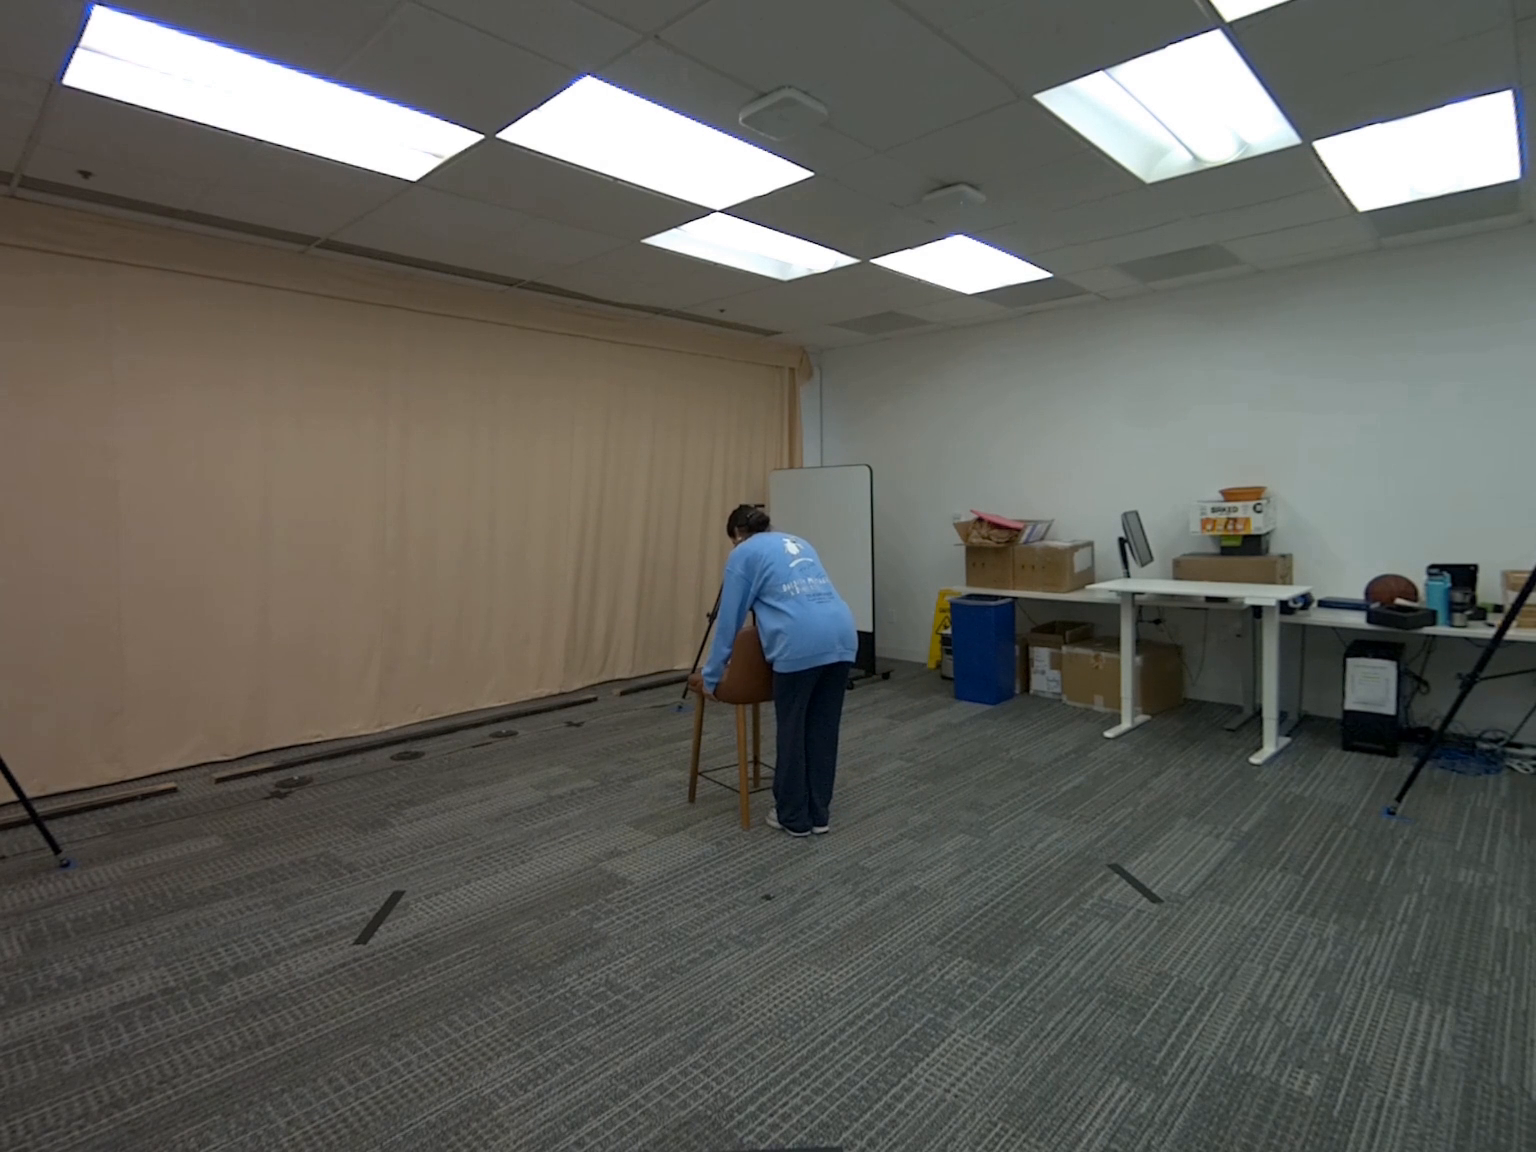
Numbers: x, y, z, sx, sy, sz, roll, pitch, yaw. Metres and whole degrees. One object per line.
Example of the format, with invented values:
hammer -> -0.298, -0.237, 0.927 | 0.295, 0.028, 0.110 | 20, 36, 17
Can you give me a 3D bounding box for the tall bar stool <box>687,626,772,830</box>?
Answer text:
tall bar stool -> -0.088, 0.628, 3.872 | 0.443, 0.887, 0.482 | -3, 5, -35
